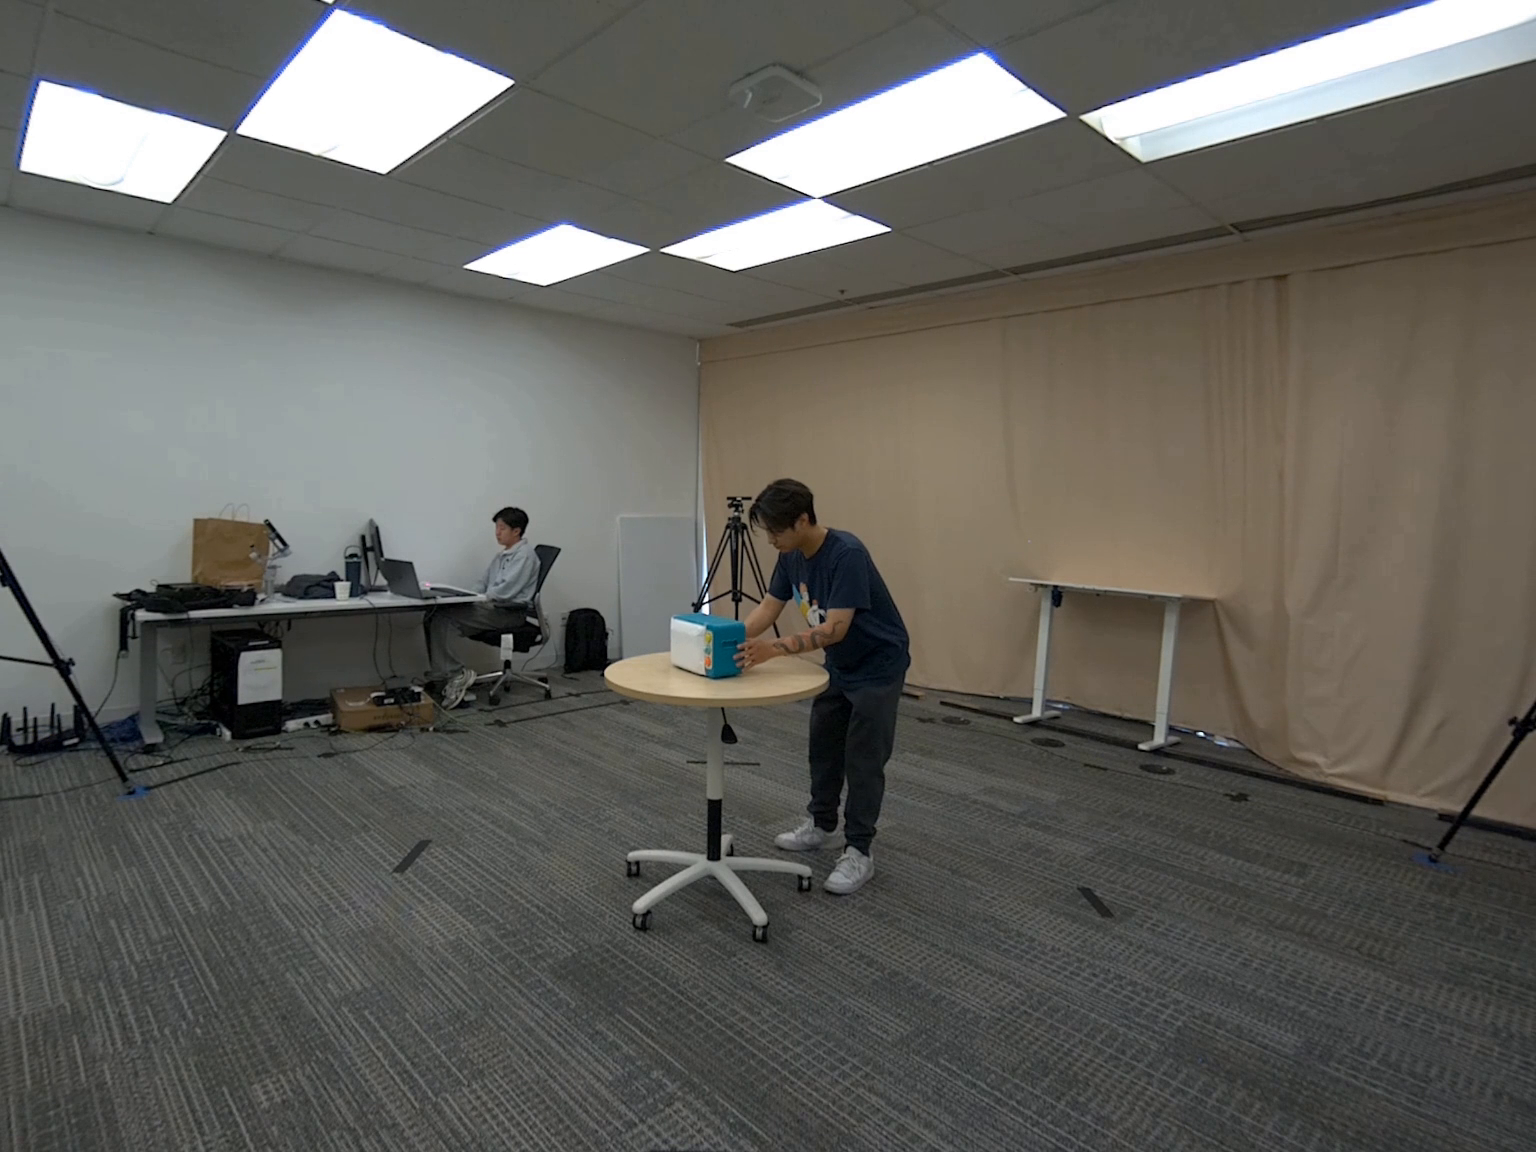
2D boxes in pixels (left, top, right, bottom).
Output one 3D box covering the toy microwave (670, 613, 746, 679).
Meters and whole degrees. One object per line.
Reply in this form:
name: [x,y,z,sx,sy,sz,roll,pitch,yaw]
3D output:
toy microwave: [-0.220,0.236,2.869,0.149,0.183,0.293,-3,6,-37]
